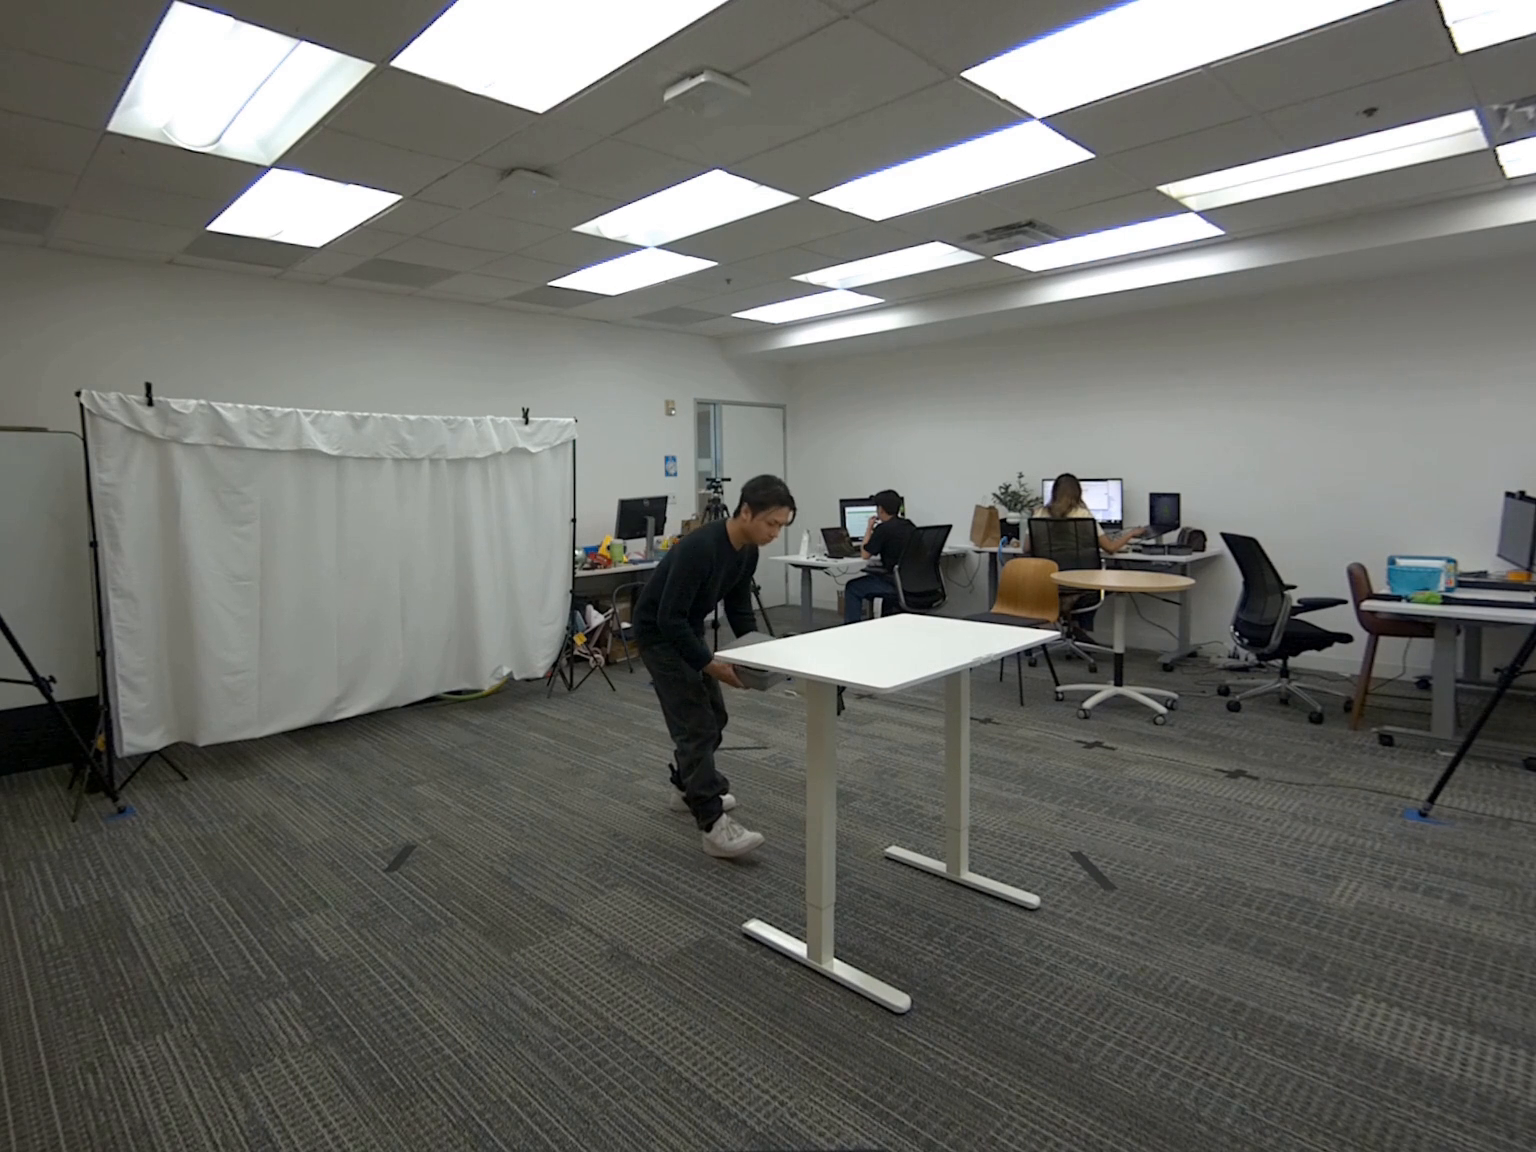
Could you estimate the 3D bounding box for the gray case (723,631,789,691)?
[{"bbox_3d":[-0.035,0.327,3.228,0.266,0.103,0.256,14,24,38],"label":"gray case"}]
